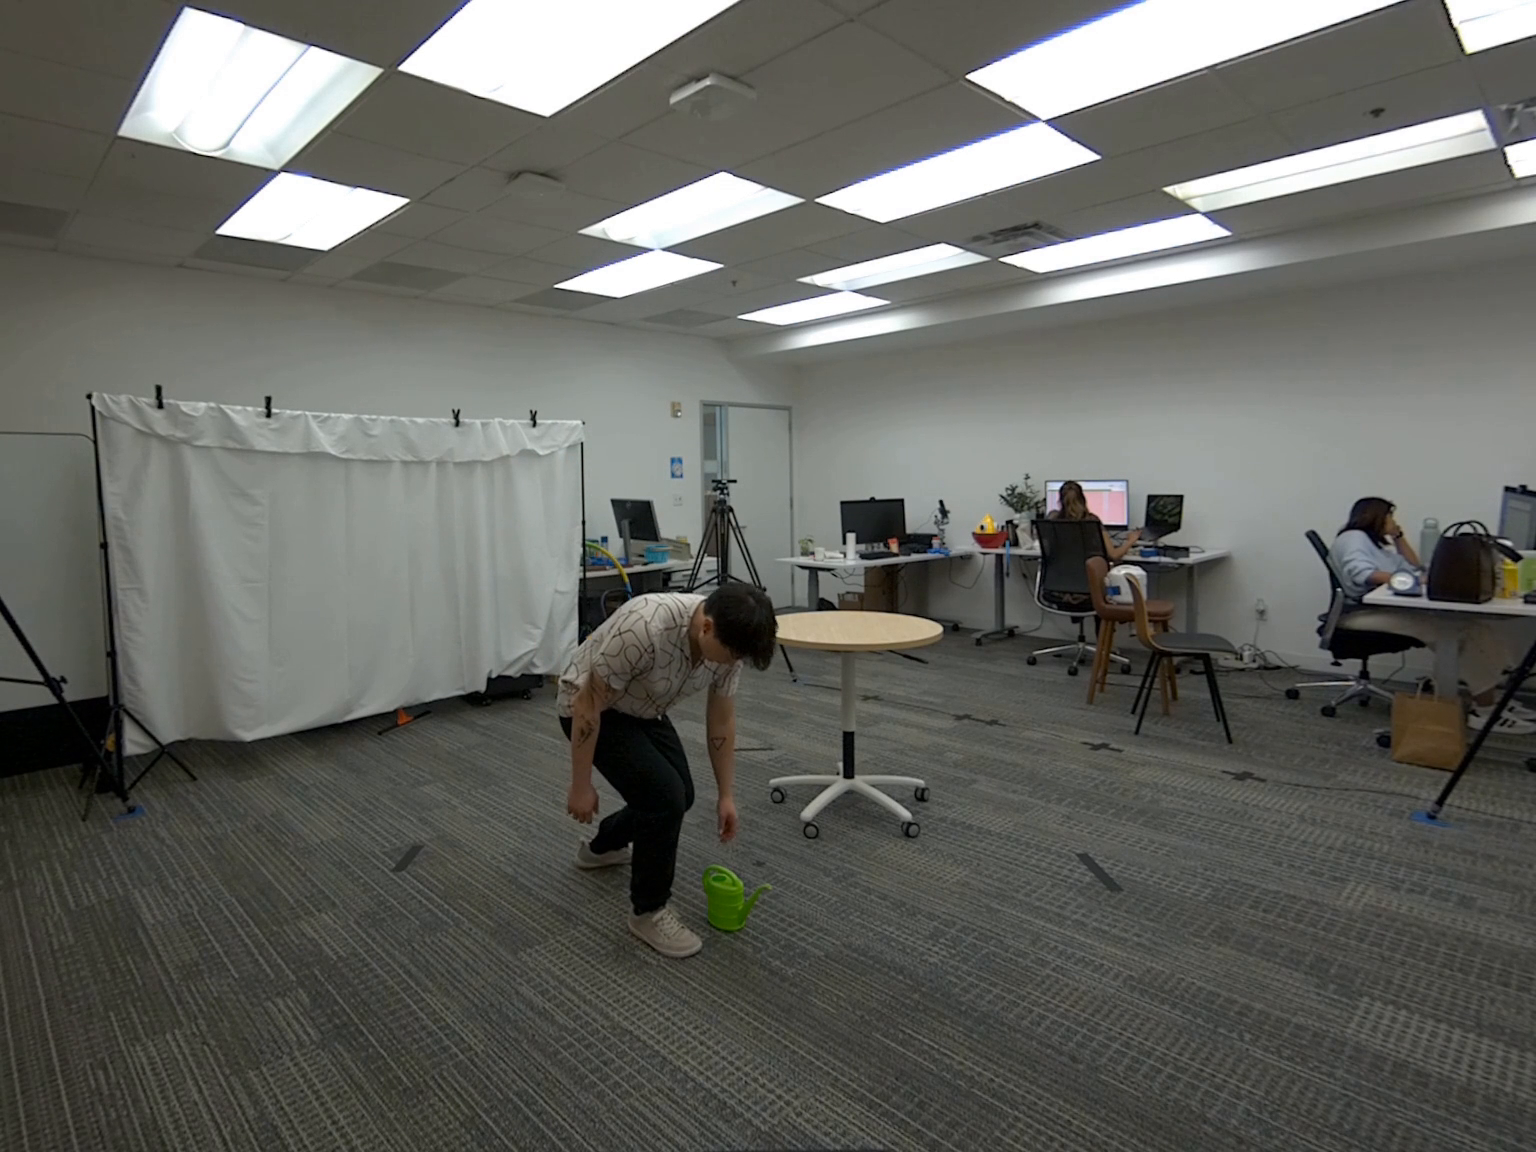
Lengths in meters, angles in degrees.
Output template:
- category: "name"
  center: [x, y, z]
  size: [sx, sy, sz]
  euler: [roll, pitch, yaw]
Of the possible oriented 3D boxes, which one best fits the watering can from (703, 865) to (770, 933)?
- category: "watering can"
  center: [-0.105, 1.009, 2.651]
  size: [0.095, 0.176, 0.286]
  euler: [-5, 4, -35]
